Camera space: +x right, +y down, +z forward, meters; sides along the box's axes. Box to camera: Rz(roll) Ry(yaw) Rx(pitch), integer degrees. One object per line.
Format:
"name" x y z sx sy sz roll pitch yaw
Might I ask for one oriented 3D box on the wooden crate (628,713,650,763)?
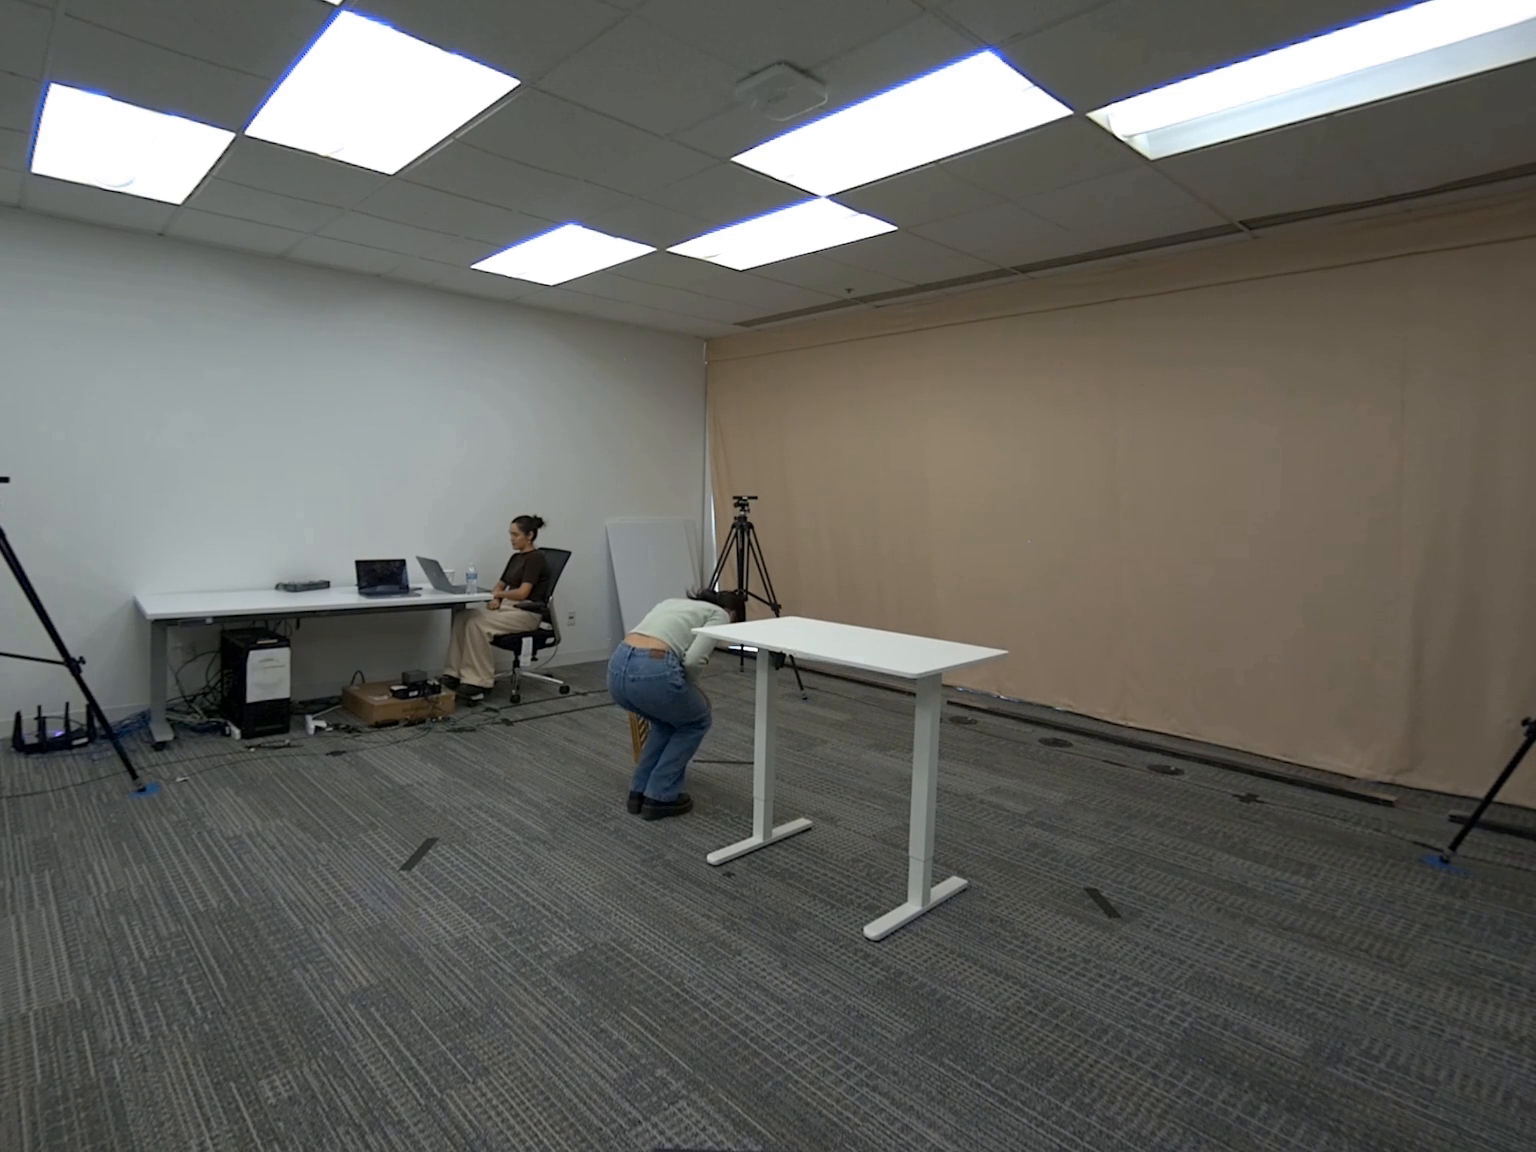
"wooden crate" -0.511 0.716 4.057 0.275 0.321 0.303 -5 13 7
